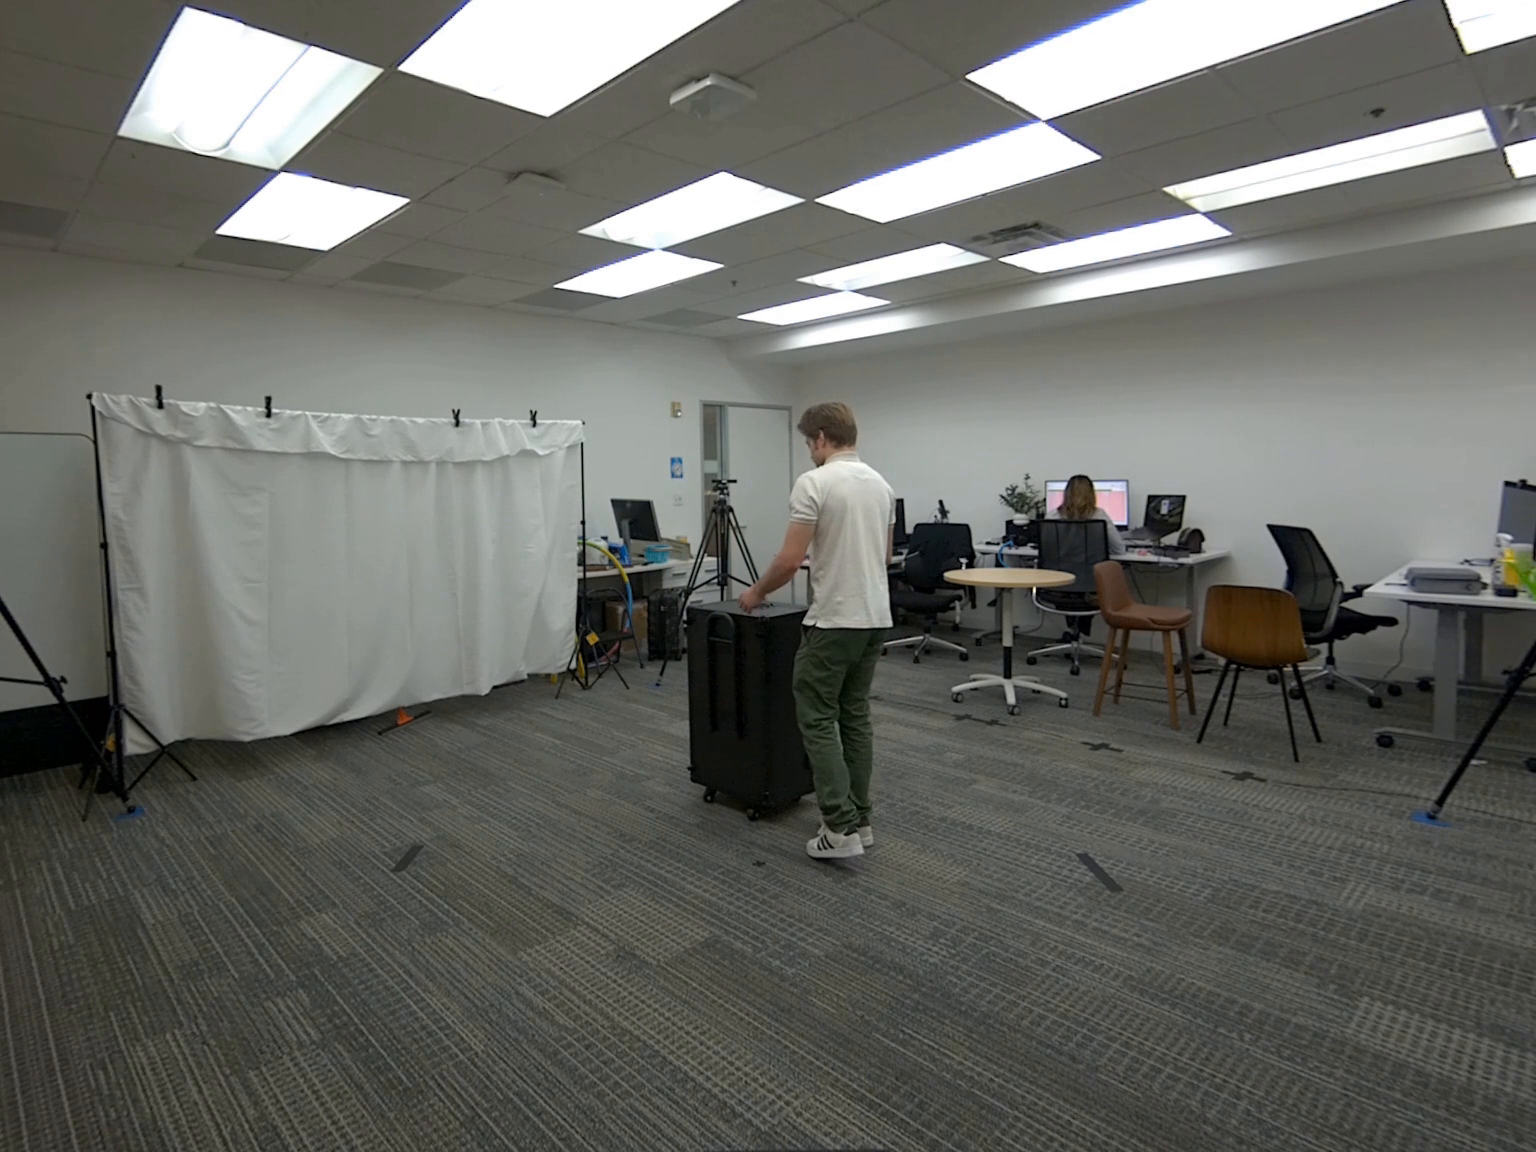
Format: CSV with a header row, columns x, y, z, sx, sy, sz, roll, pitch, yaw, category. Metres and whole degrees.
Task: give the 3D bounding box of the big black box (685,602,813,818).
x,y,z,sx,sy,sz,roll,pitch,yaw,category
-0.056,0.561,3.699,0.375,0.865,0.539,-5,6,-45,big black box
